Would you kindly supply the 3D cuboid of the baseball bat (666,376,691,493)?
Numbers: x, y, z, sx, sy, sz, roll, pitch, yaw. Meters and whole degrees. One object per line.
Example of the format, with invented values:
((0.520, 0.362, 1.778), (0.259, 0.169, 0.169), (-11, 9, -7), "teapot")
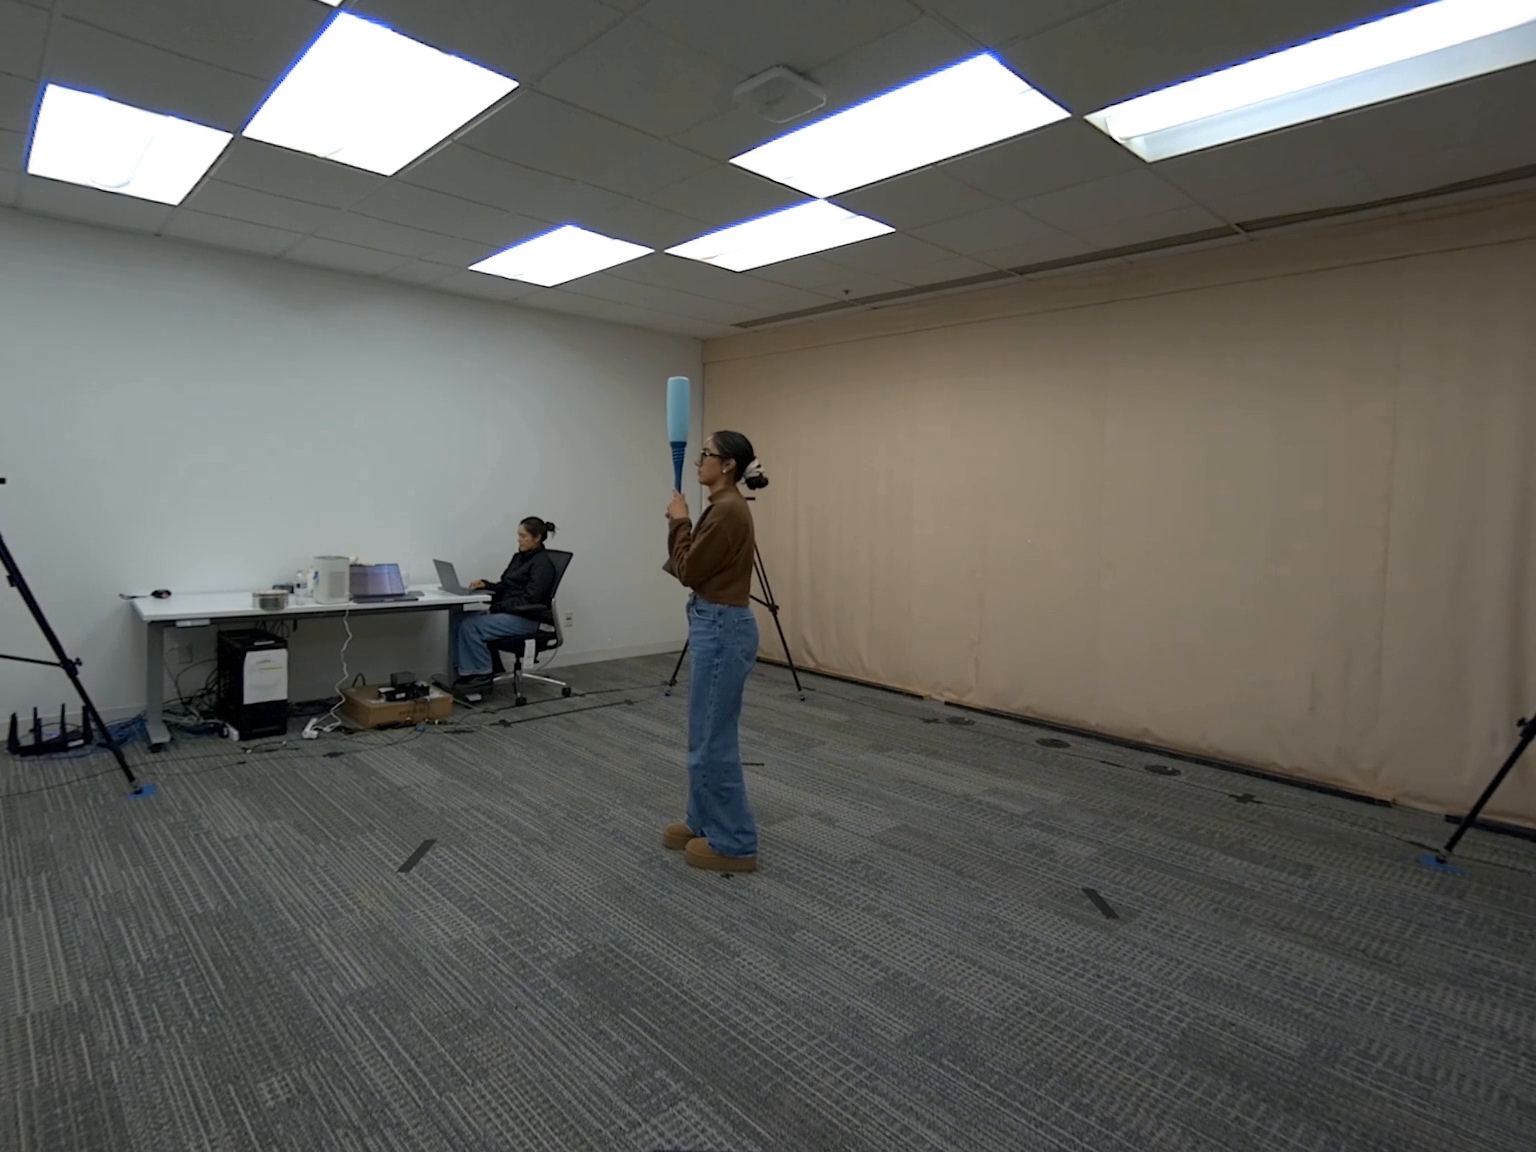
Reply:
((-0.351, -0.499, 3.259), (0.089, 0.542, 0.089), (-1, 1, -1), "baseball bat")
